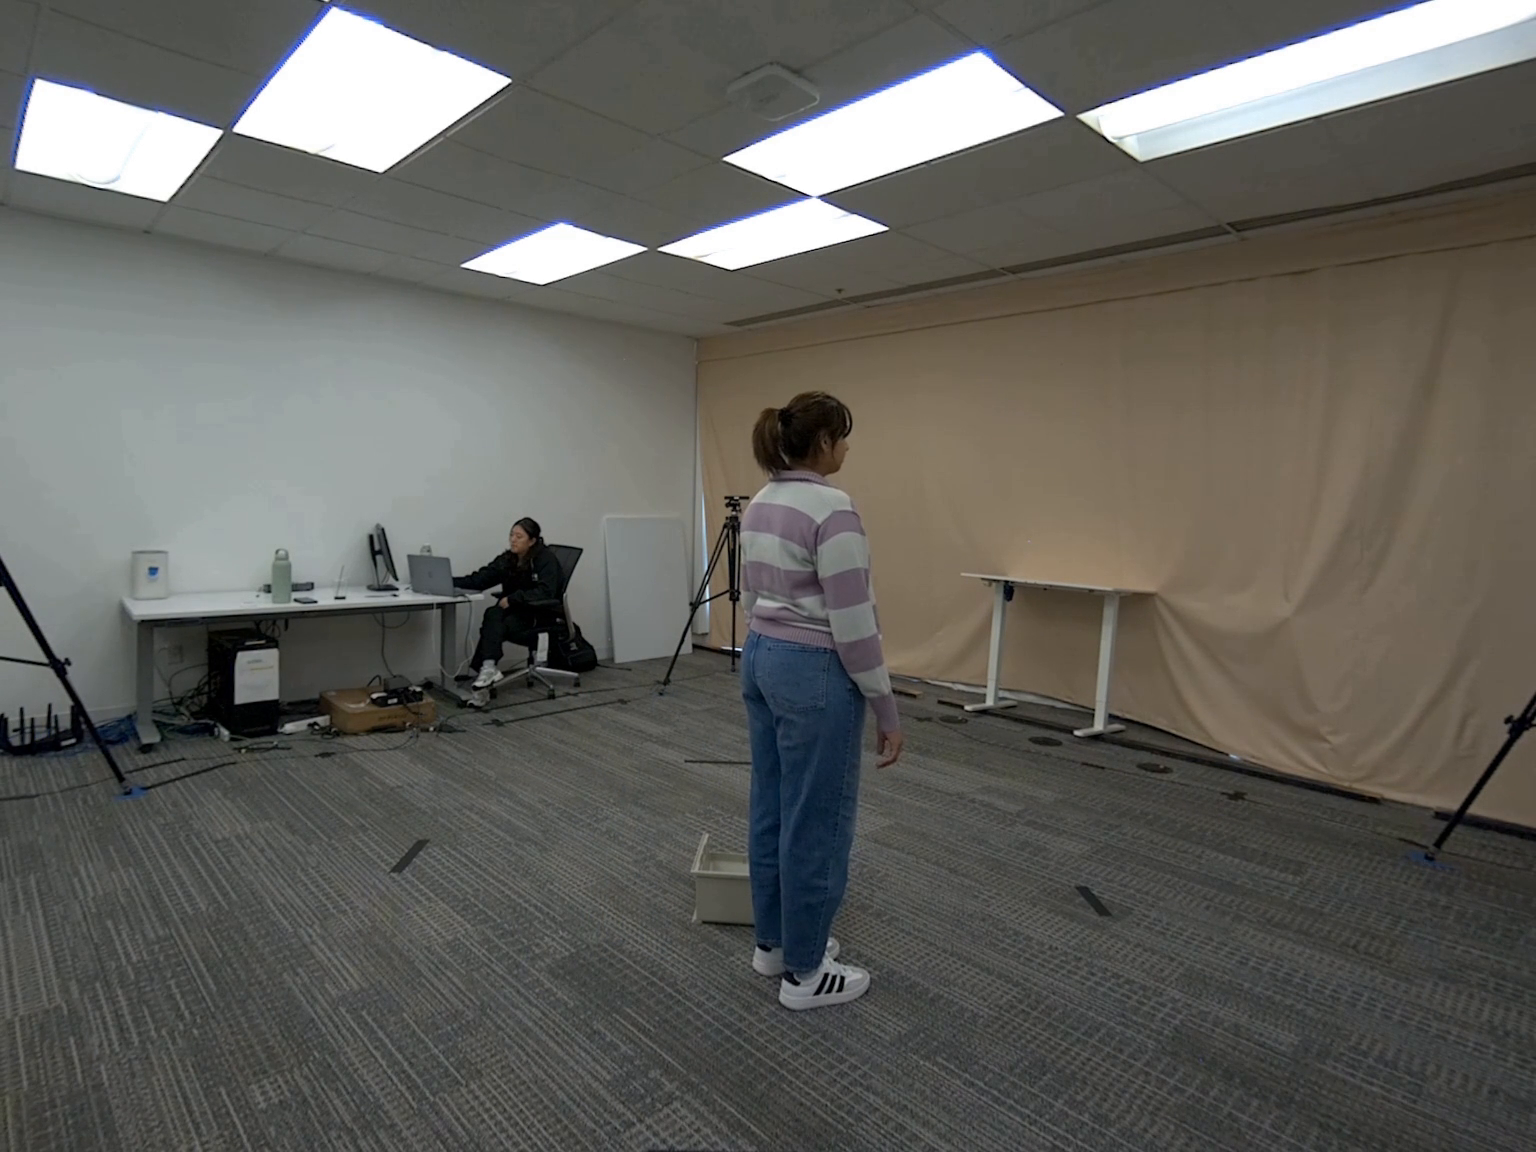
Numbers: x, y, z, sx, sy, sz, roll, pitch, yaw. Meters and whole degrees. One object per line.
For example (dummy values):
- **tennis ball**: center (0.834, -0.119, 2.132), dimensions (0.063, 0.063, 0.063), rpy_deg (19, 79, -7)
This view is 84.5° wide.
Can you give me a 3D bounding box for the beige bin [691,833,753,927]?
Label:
- **beige bin**: center (-0.036, 1.033, 2.891), dimensions (0.424, 0.188, 0.377), rpy_deg (1, 6, 4)
